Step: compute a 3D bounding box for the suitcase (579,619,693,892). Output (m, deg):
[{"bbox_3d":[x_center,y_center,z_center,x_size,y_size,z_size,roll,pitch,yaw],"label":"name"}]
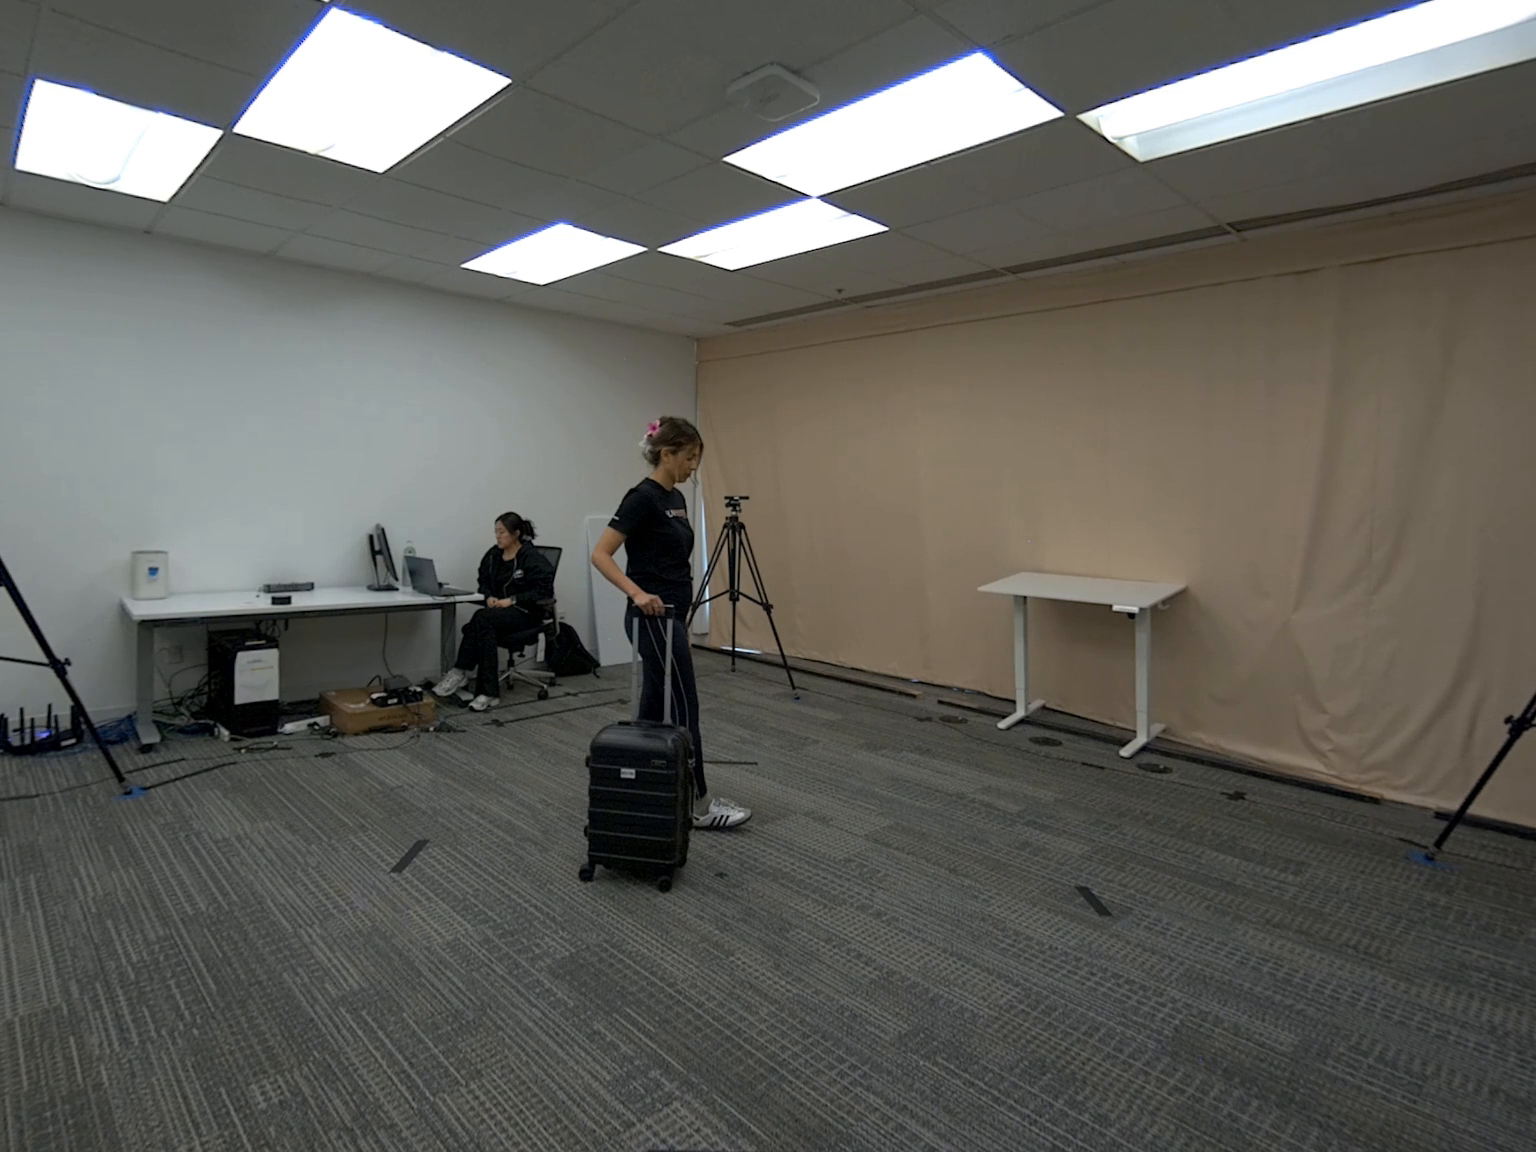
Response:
[{"bbox_3d":[-0.470,0.623,3.080,0.387,0.975,0.256,3,5,8],"label":"suitcase"}]
